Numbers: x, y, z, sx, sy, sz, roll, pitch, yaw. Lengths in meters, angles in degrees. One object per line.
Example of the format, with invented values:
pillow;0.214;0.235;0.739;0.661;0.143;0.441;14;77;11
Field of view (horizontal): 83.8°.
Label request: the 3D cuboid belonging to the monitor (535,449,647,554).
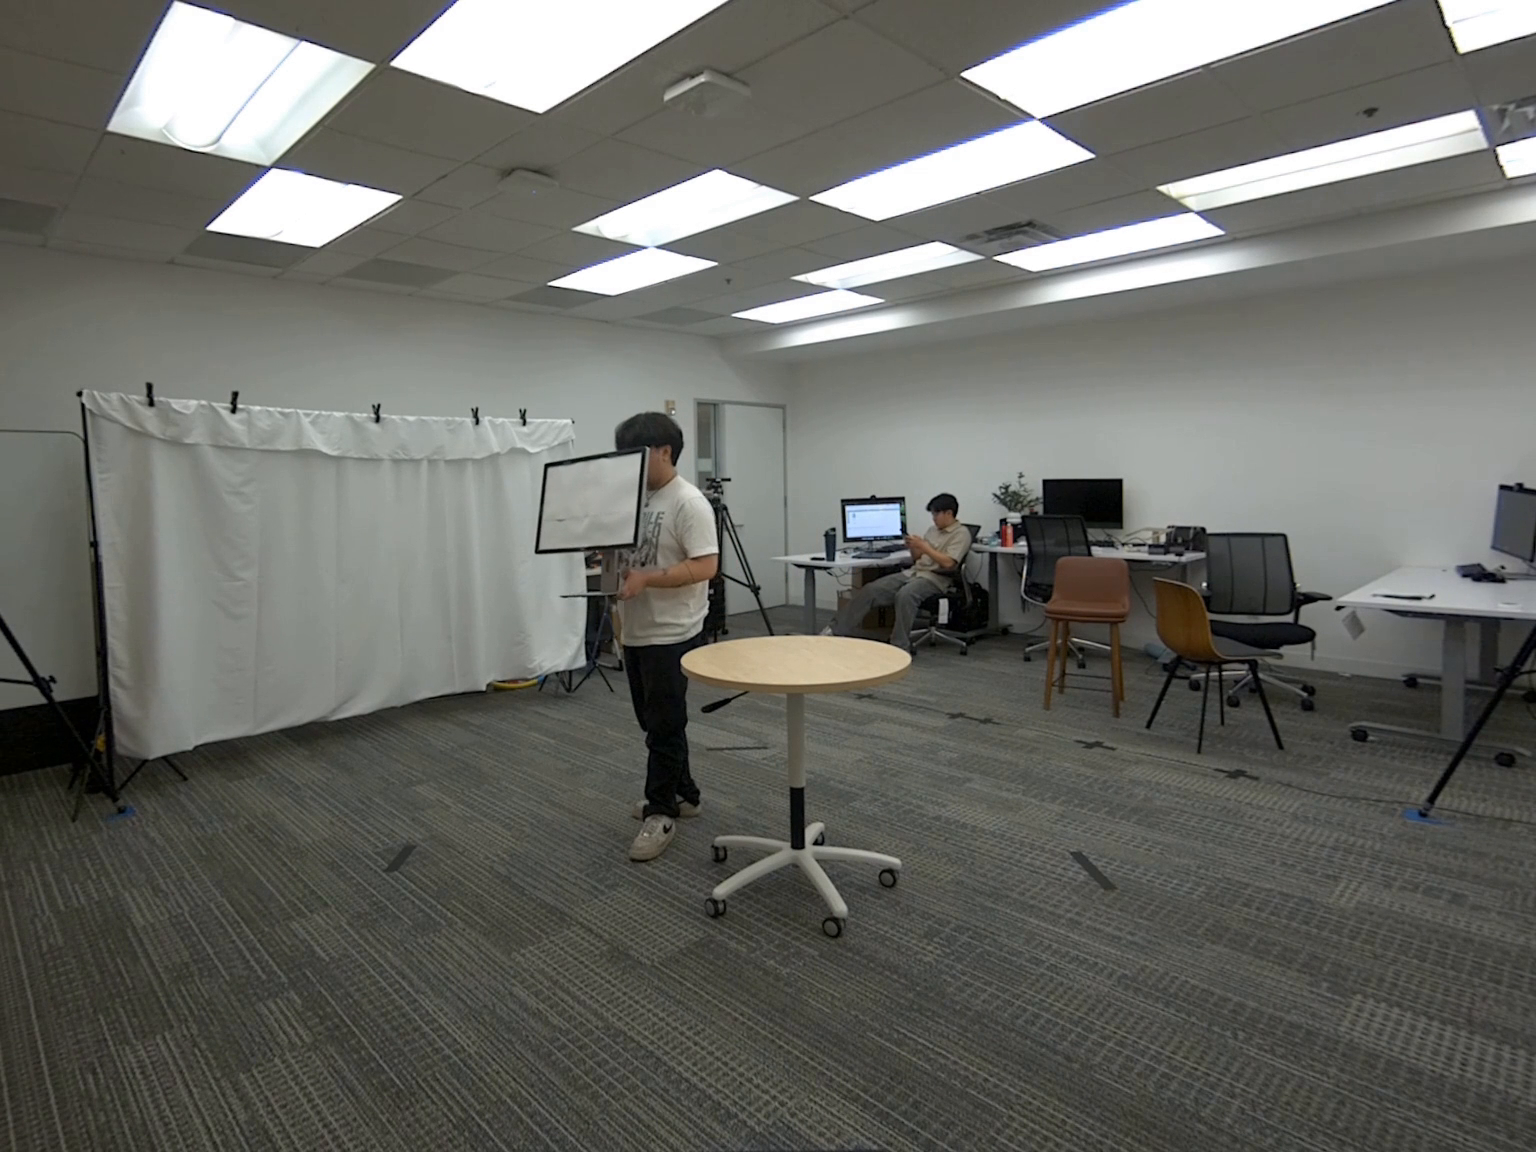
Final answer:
monitor;-0.618;-0.176;3.215;0.580;0.557;0.203;-3;-6;38
